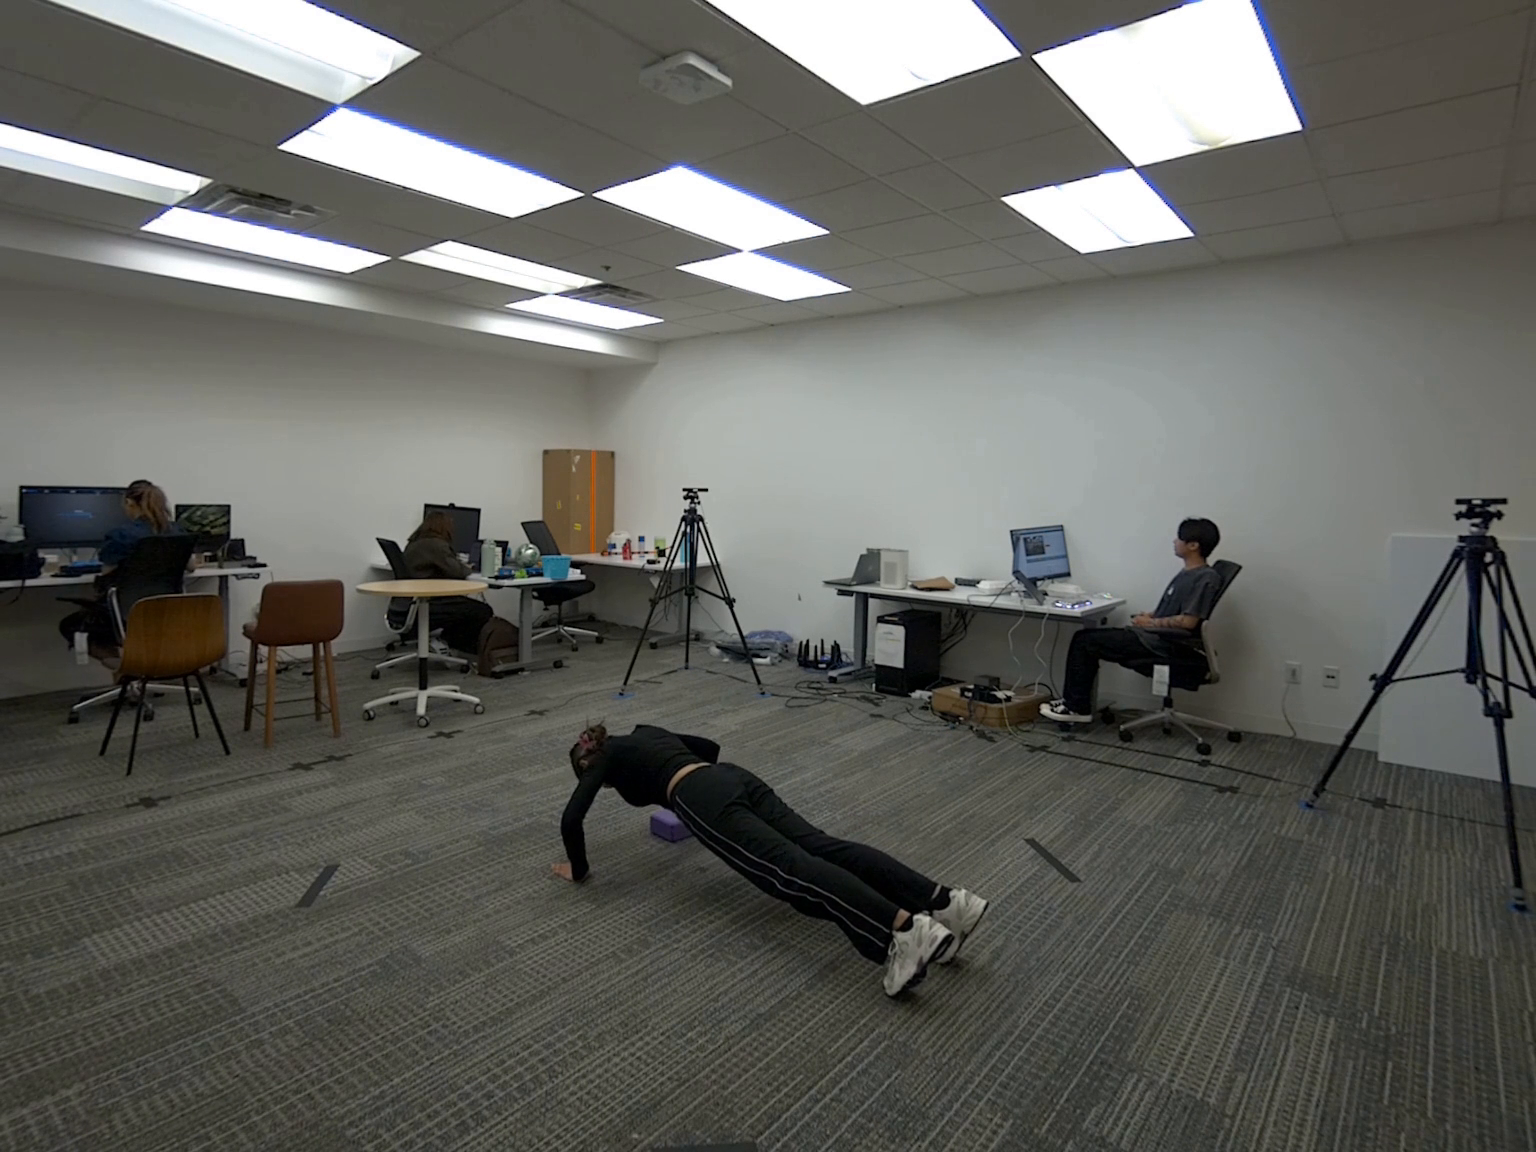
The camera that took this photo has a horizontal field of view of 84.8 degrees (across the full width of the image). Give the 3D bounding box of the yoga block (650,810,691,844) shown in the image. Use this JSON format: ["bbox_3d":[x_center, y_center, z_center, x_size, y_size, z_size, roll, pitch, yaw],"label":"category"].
[{"bbox_3d":[-0.358,0.994,3.459,0.154,0.076,0.222,5,6,45],"label":"yoga block"}]
